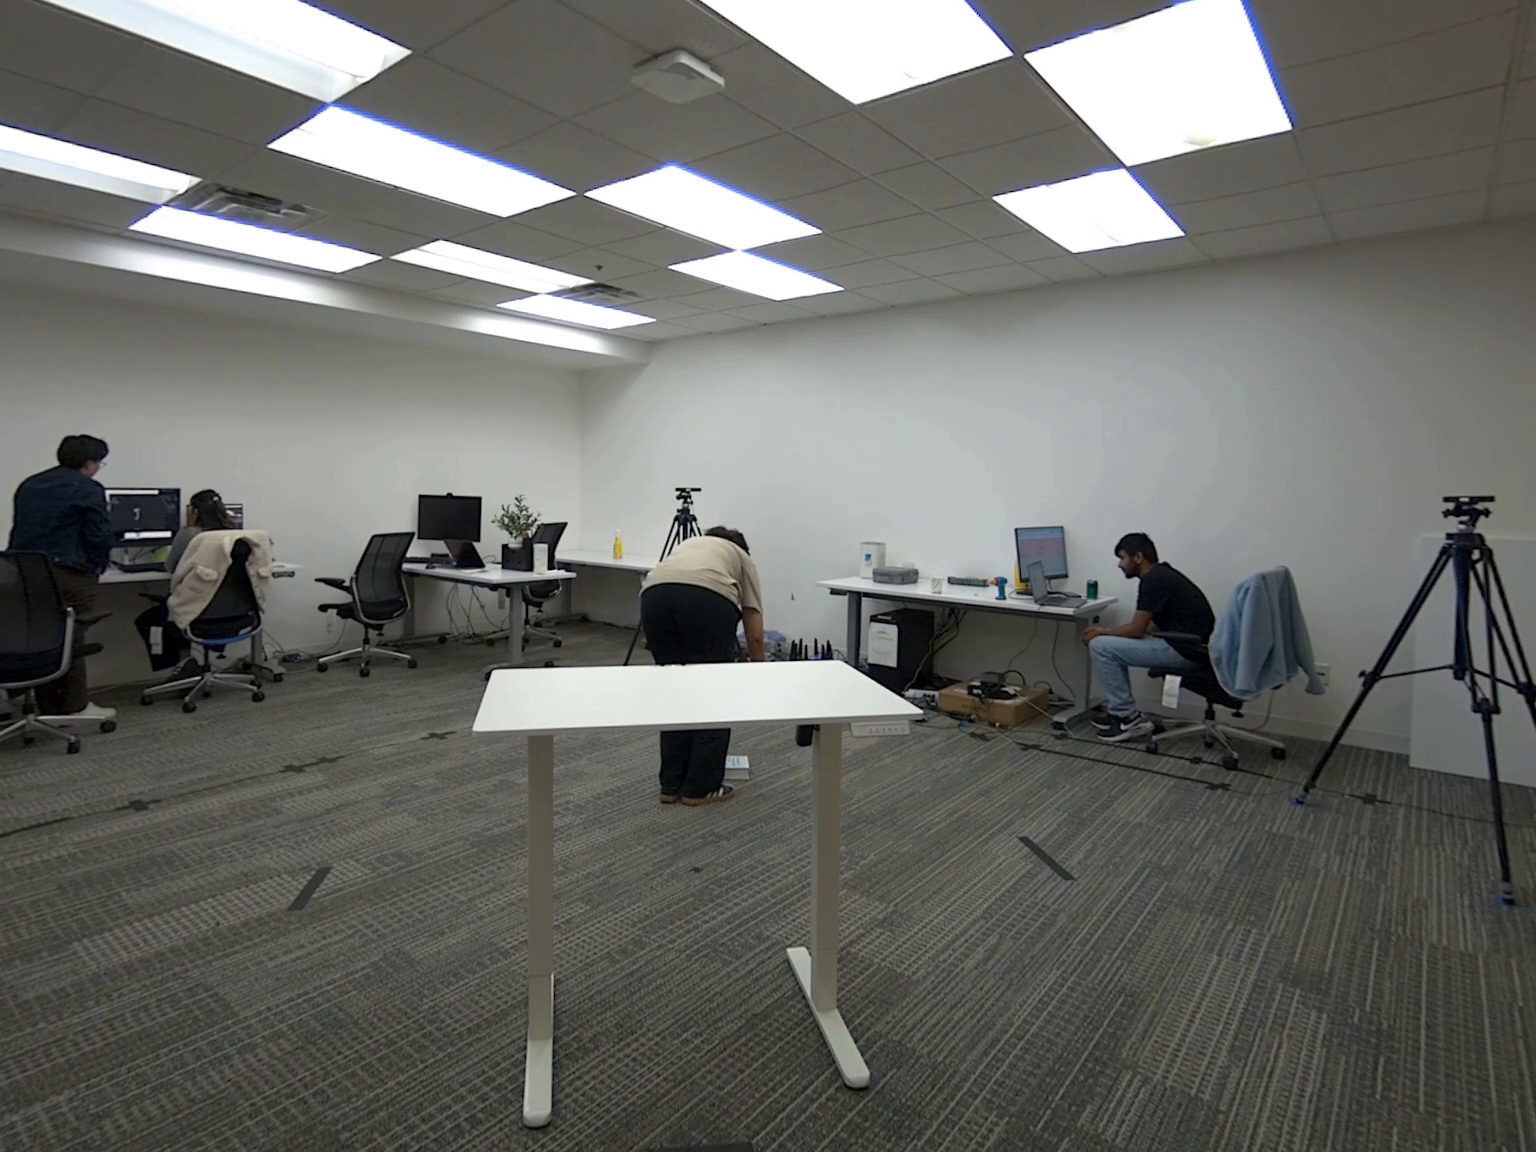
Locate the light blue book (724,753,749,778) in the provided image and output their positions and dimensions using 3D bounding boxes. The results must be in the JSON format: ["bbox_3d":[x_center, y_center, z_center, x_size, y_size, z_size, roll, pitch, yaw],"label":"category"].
[{"bbox_3d":[-0.235,0.933,4.161,0.260,0.059,0.192,0,5,-2],"label":"light blue book"}]
